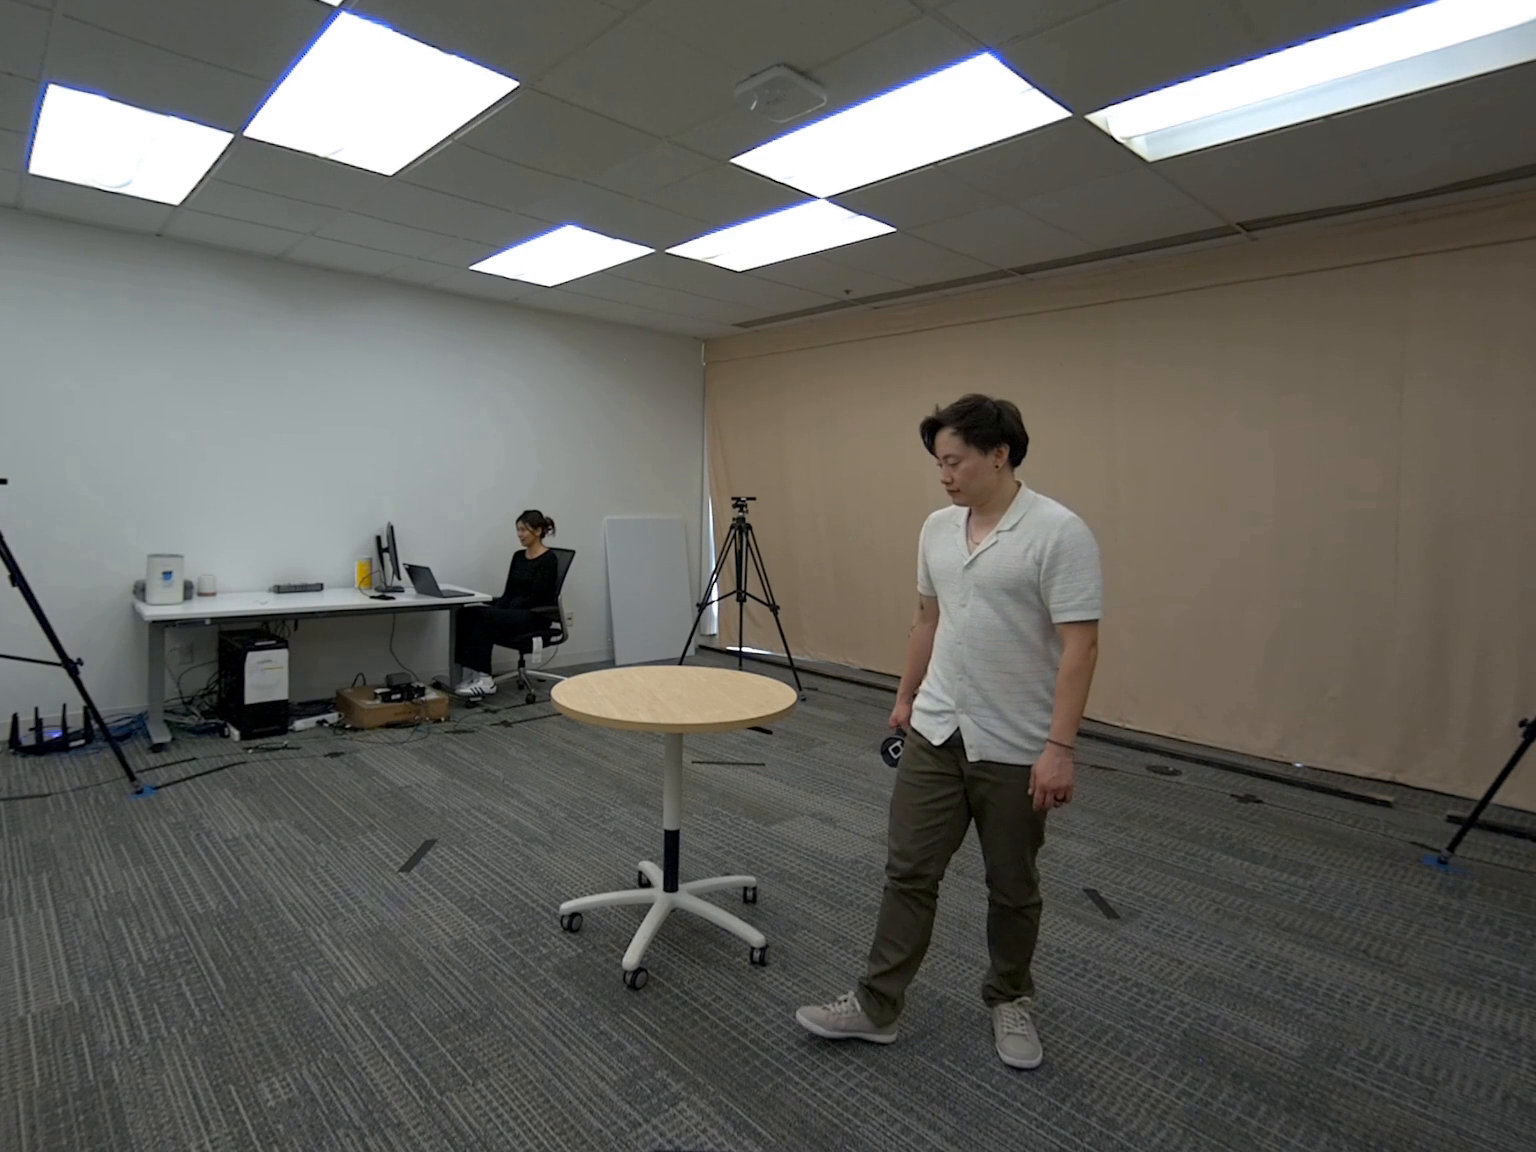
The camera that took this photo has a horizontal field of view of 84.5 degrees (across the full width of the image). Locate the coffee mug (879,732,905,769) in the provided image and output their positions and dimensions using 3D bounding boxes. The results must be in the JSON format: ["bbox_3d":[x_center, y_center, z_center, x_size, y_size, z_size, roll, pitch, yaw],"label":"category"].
[{"bbox_3d":[0.409,0.489,2.395,0.198,0.121,0.091,4,22,-46],"label":"coffee mug"}]
